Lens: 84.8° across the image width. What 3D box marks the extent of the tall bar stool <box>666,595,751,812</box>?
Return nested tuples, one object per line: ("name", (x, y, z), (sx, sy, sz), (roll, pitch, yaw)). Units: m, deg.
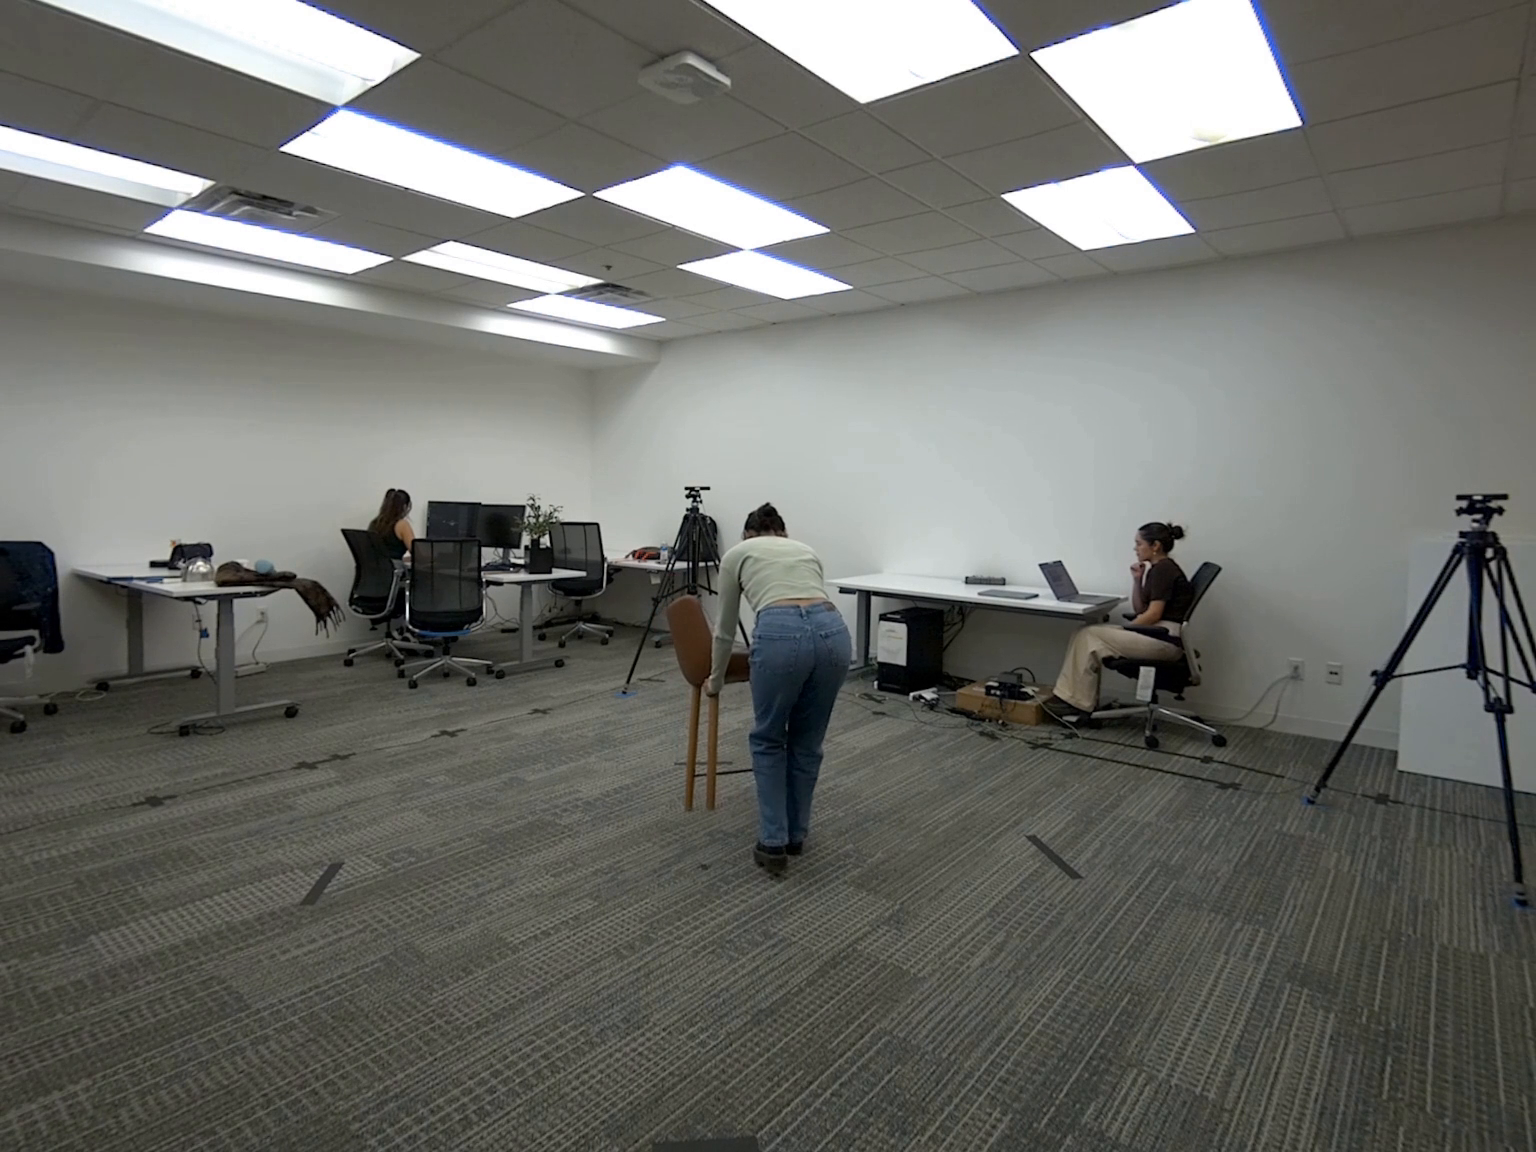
("tall bar stool", (-0.157, 0.540, 3.700), (0.458, 0.904, 0.459), (-3, -15, -22))
